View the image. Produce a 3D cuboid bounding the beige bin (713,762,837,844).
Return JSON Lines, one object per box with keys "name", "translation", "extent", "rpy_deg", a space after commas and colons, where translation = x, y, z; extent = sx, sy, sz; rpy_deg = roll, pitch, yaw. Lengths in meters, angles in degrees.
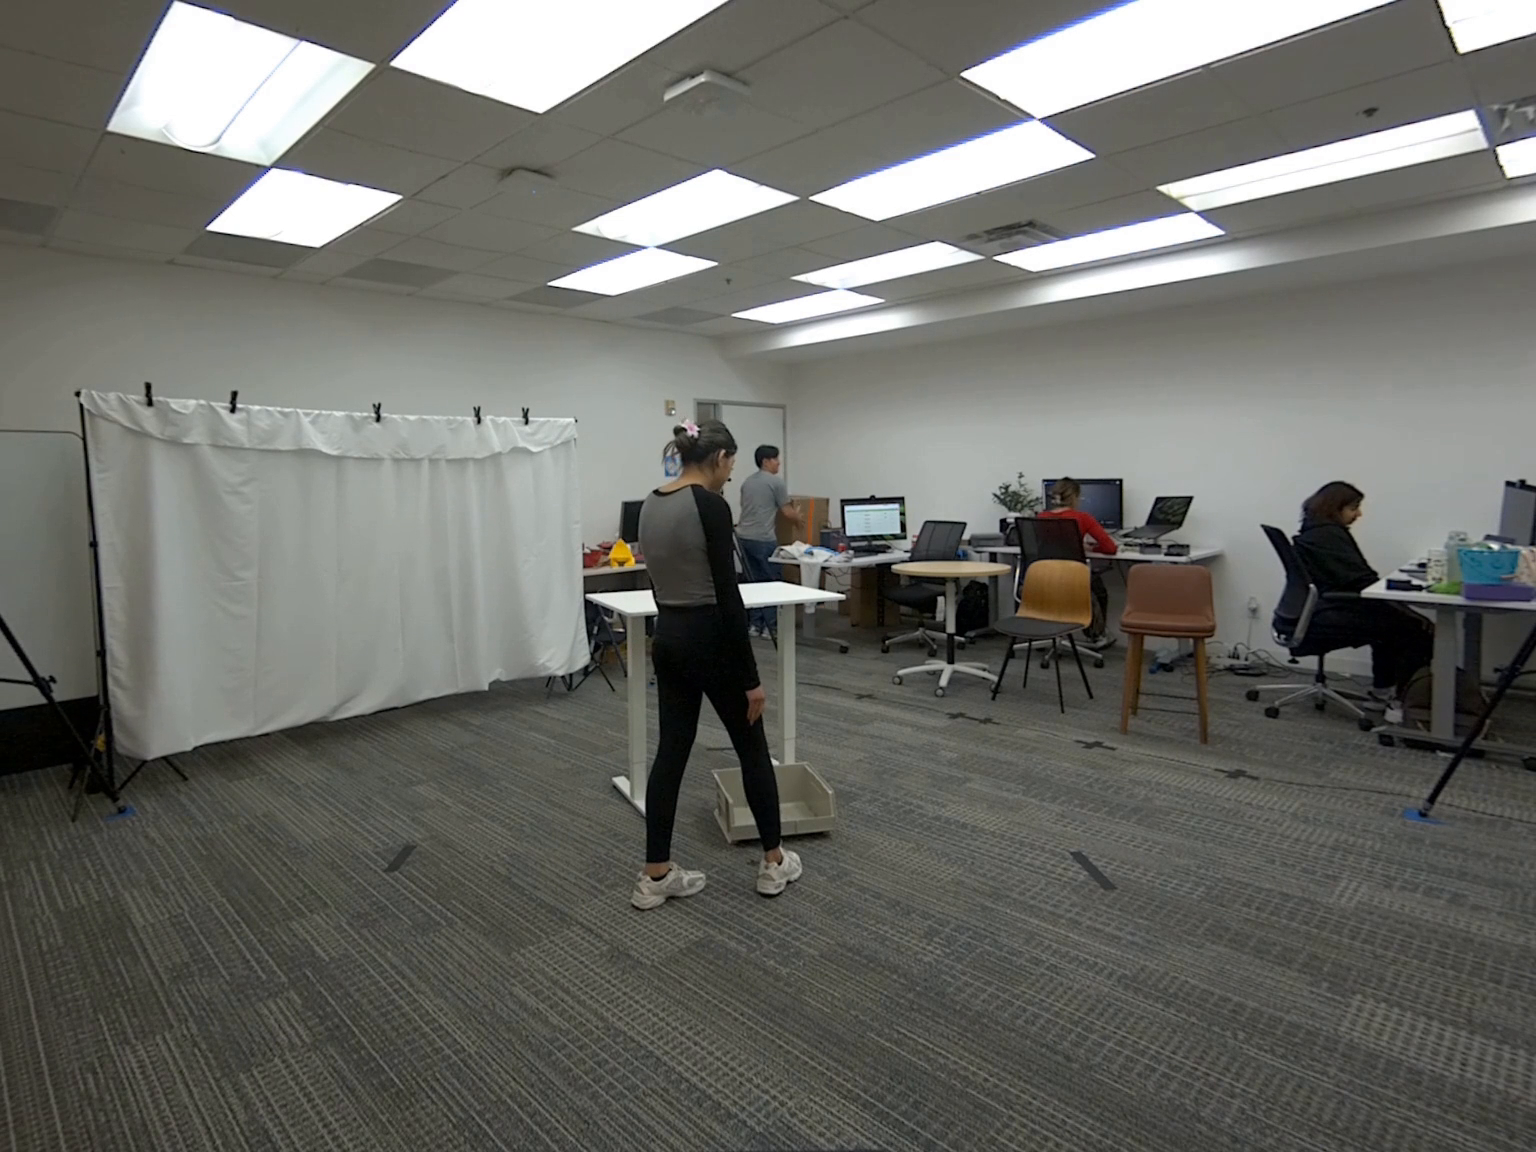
{"name": "beige bin", "translation": [0.016, 0.912, 3.434], "extent": [0.417, 0.188, 0.384], "rpy_deg": [-3, 6, -14]}
